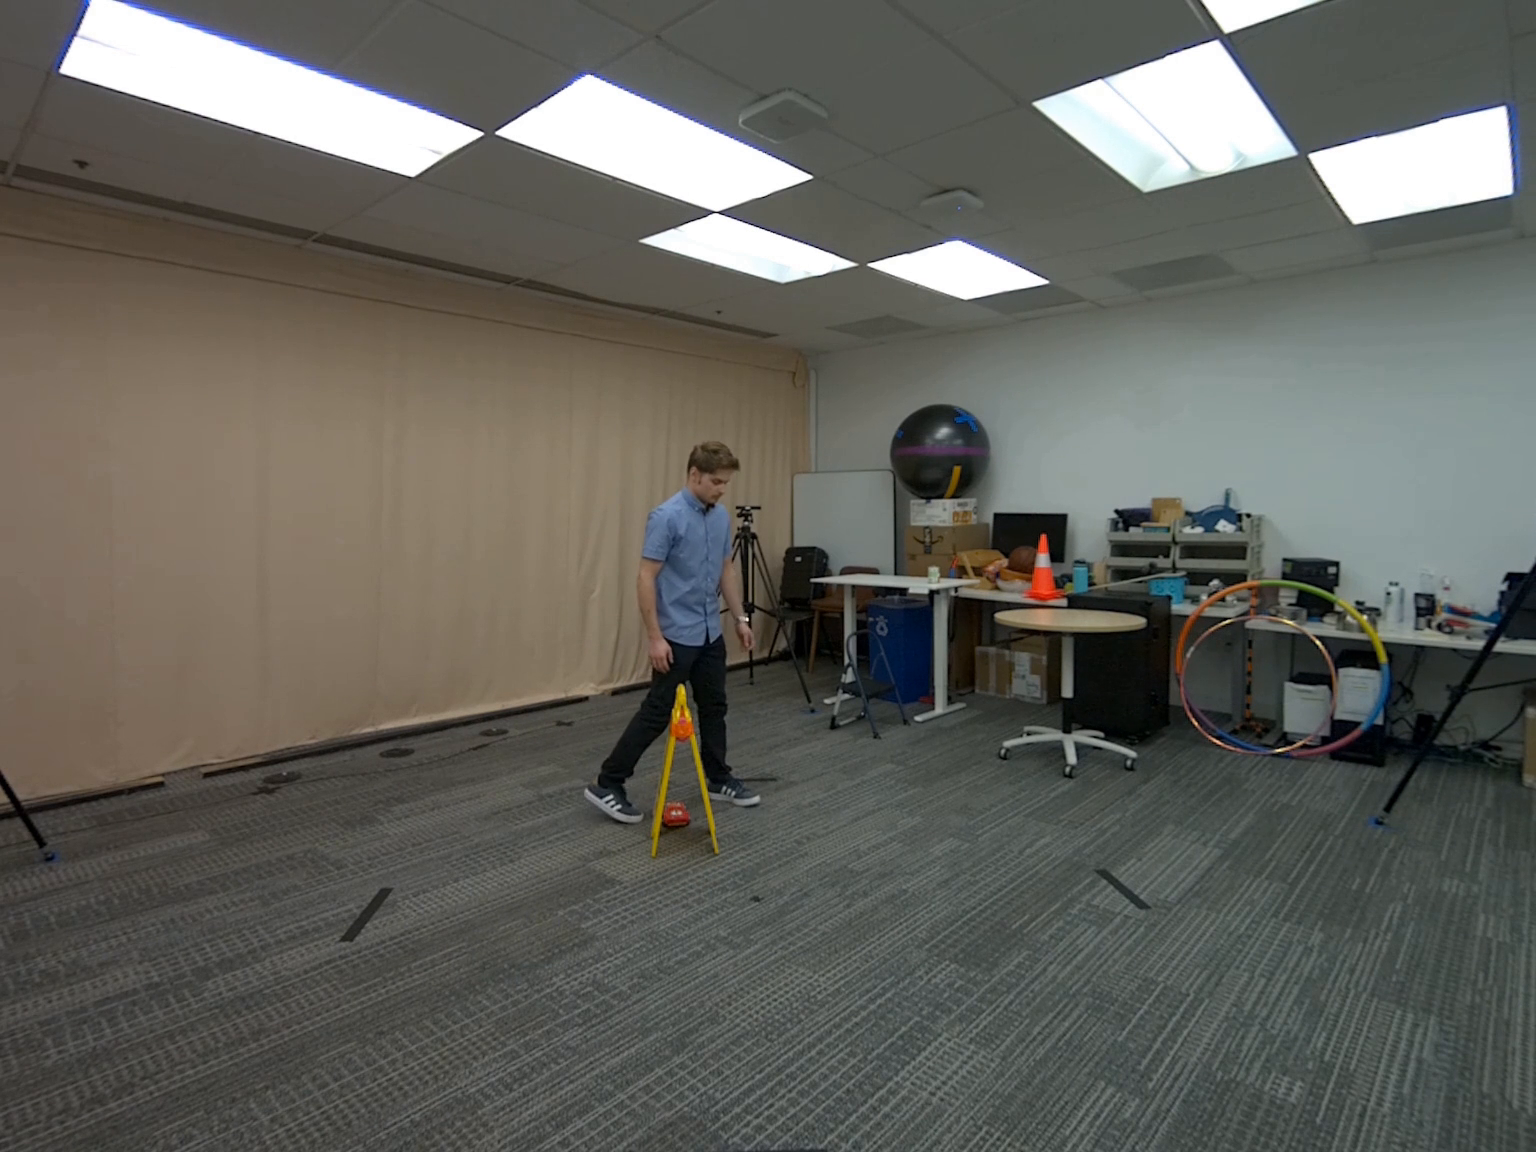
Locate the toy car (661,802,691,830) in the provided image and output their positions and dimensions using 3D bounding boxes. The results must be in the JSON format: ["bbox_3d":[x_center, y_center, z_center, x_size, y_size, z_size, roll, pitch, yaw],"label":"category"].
[{"bbox_3d":[-0.416,1.057,3.730,0.129,0.083,0.256,0,-6,-10],"label":"toy car"}]
